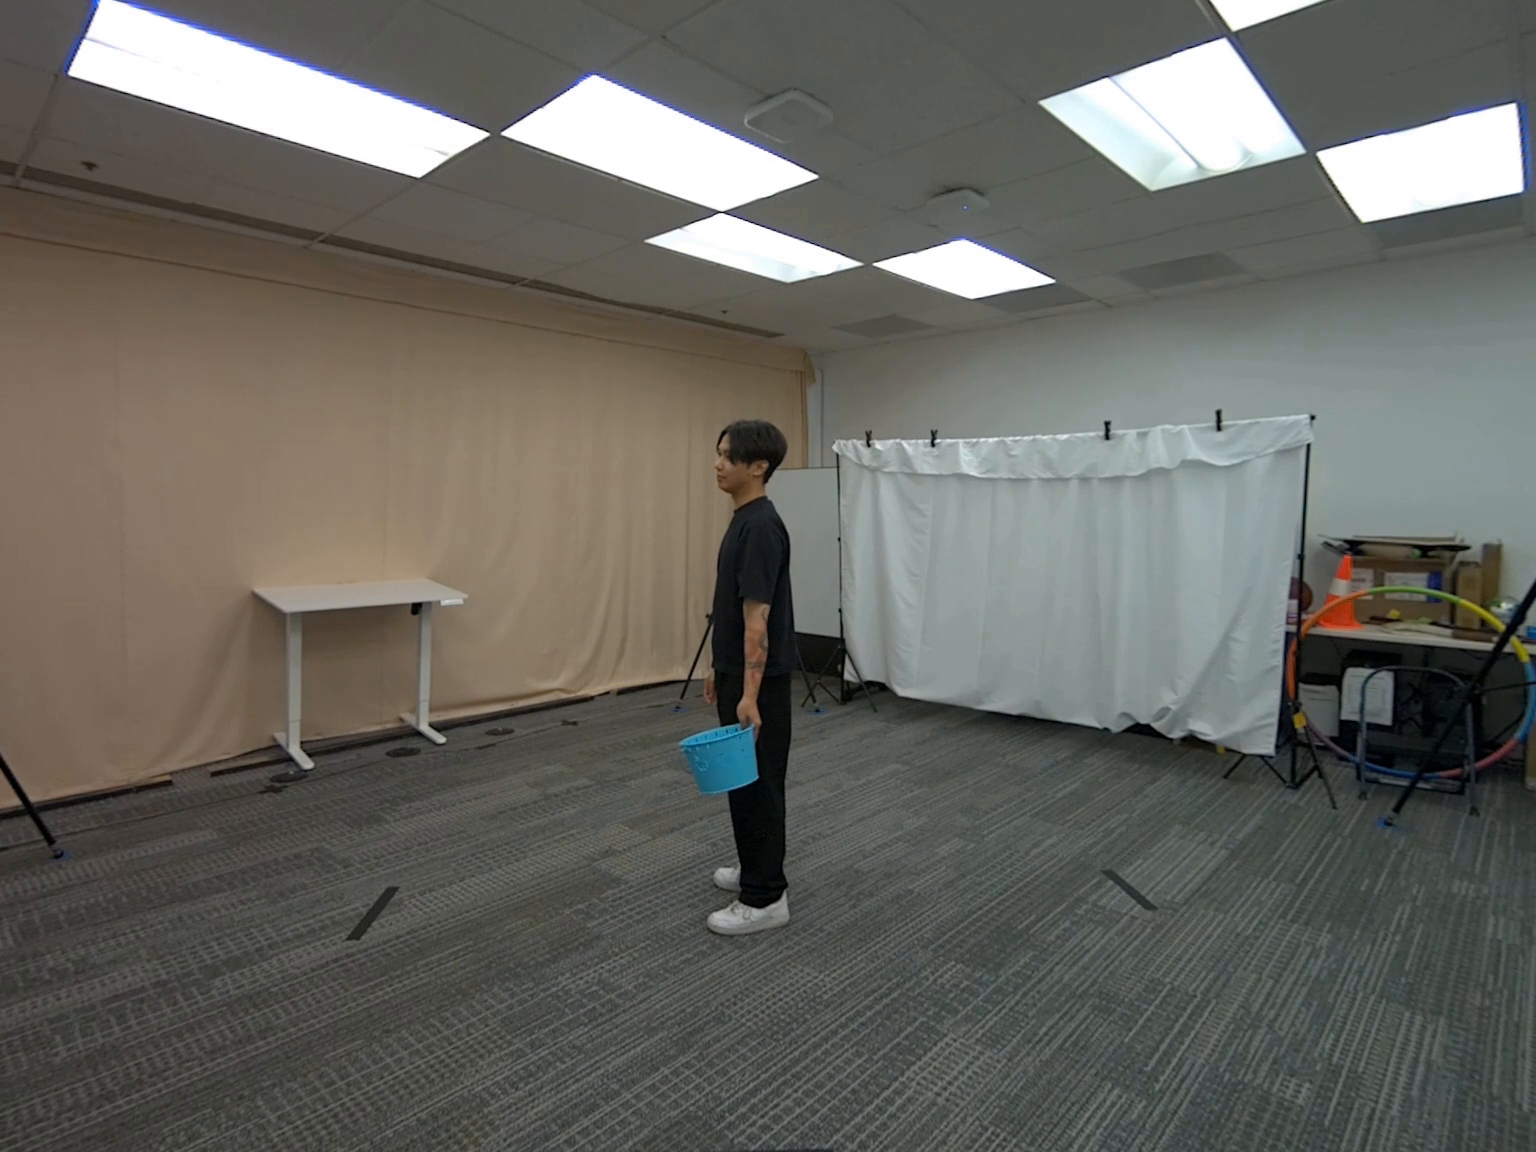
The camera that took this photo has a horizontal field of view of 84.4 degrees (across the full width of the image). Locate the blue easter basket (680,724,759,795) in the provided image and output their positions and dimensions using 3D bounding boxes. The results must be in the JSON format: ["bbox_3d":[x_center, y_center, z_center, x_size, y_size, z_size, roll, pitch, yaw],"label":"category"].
[{"bbox_3d":[-0.151,0.545,2.509,0.243,0.156,0.243,-13,-2,-3],"label":"blue easter basket"}]
